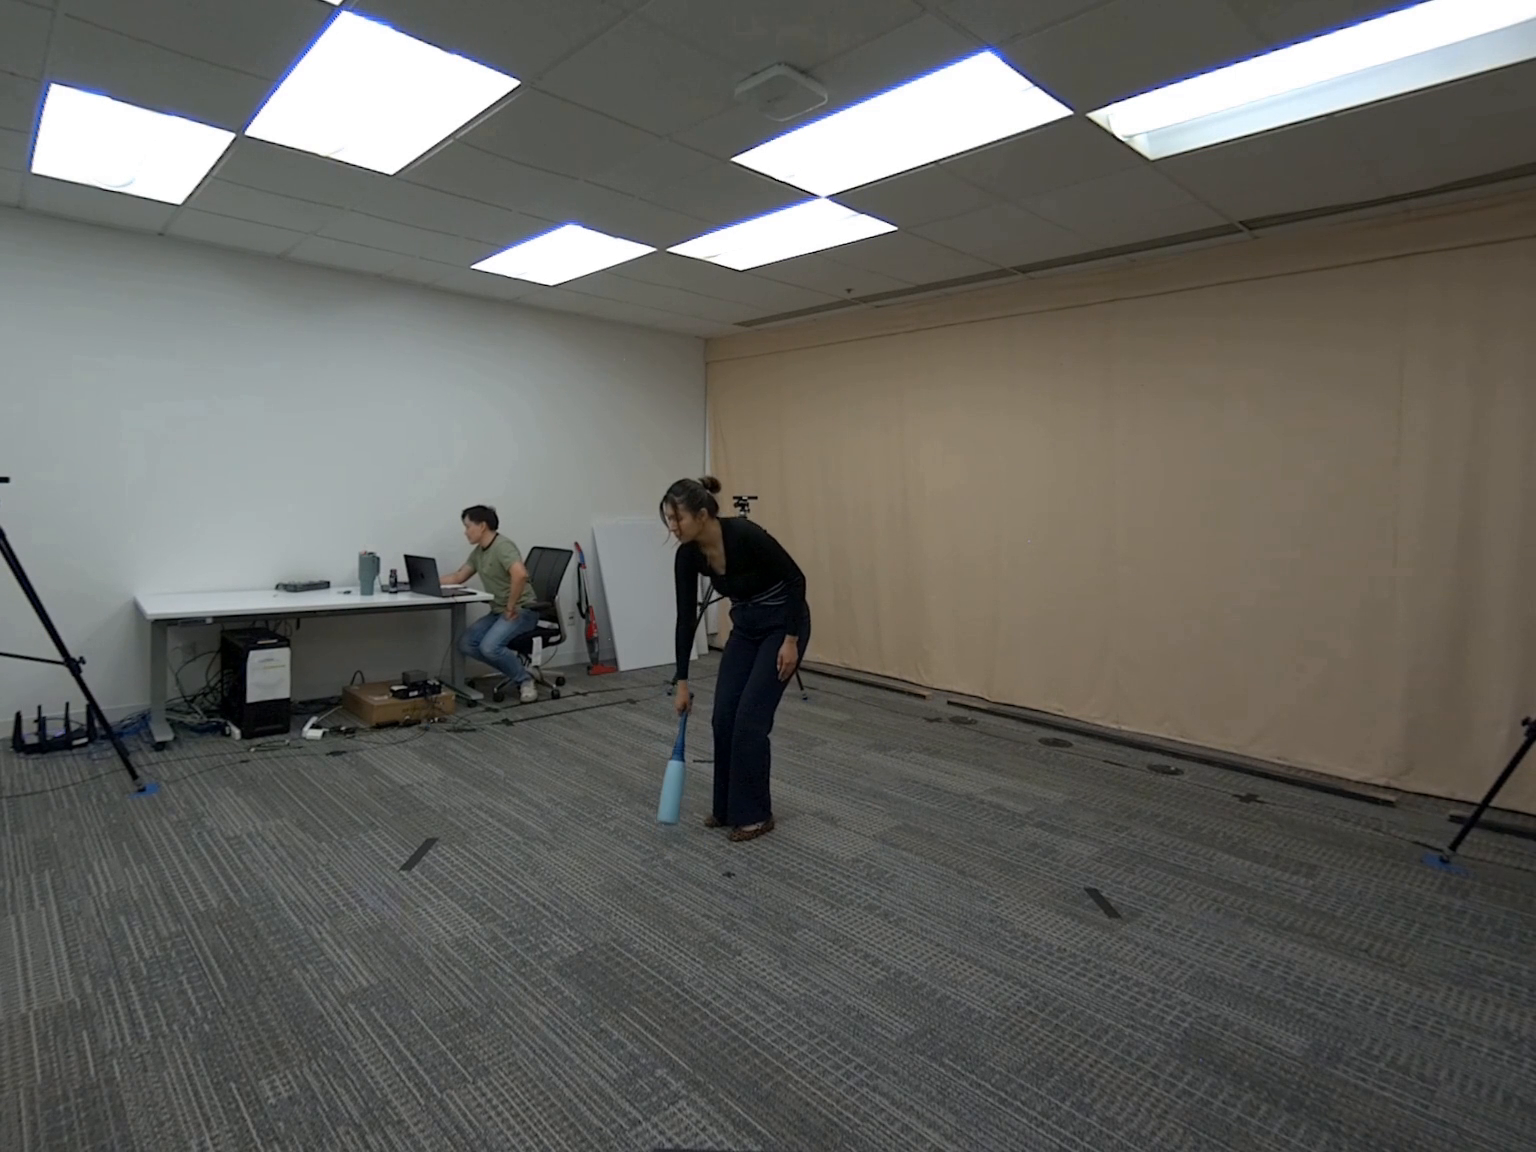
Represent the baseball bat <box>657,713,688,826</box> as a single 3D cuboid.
[{"bbox_3d":[-0.379,0.749,3.487,0.089,0.550,0.088,7,-22,1],"label":"baseball bat"}]
